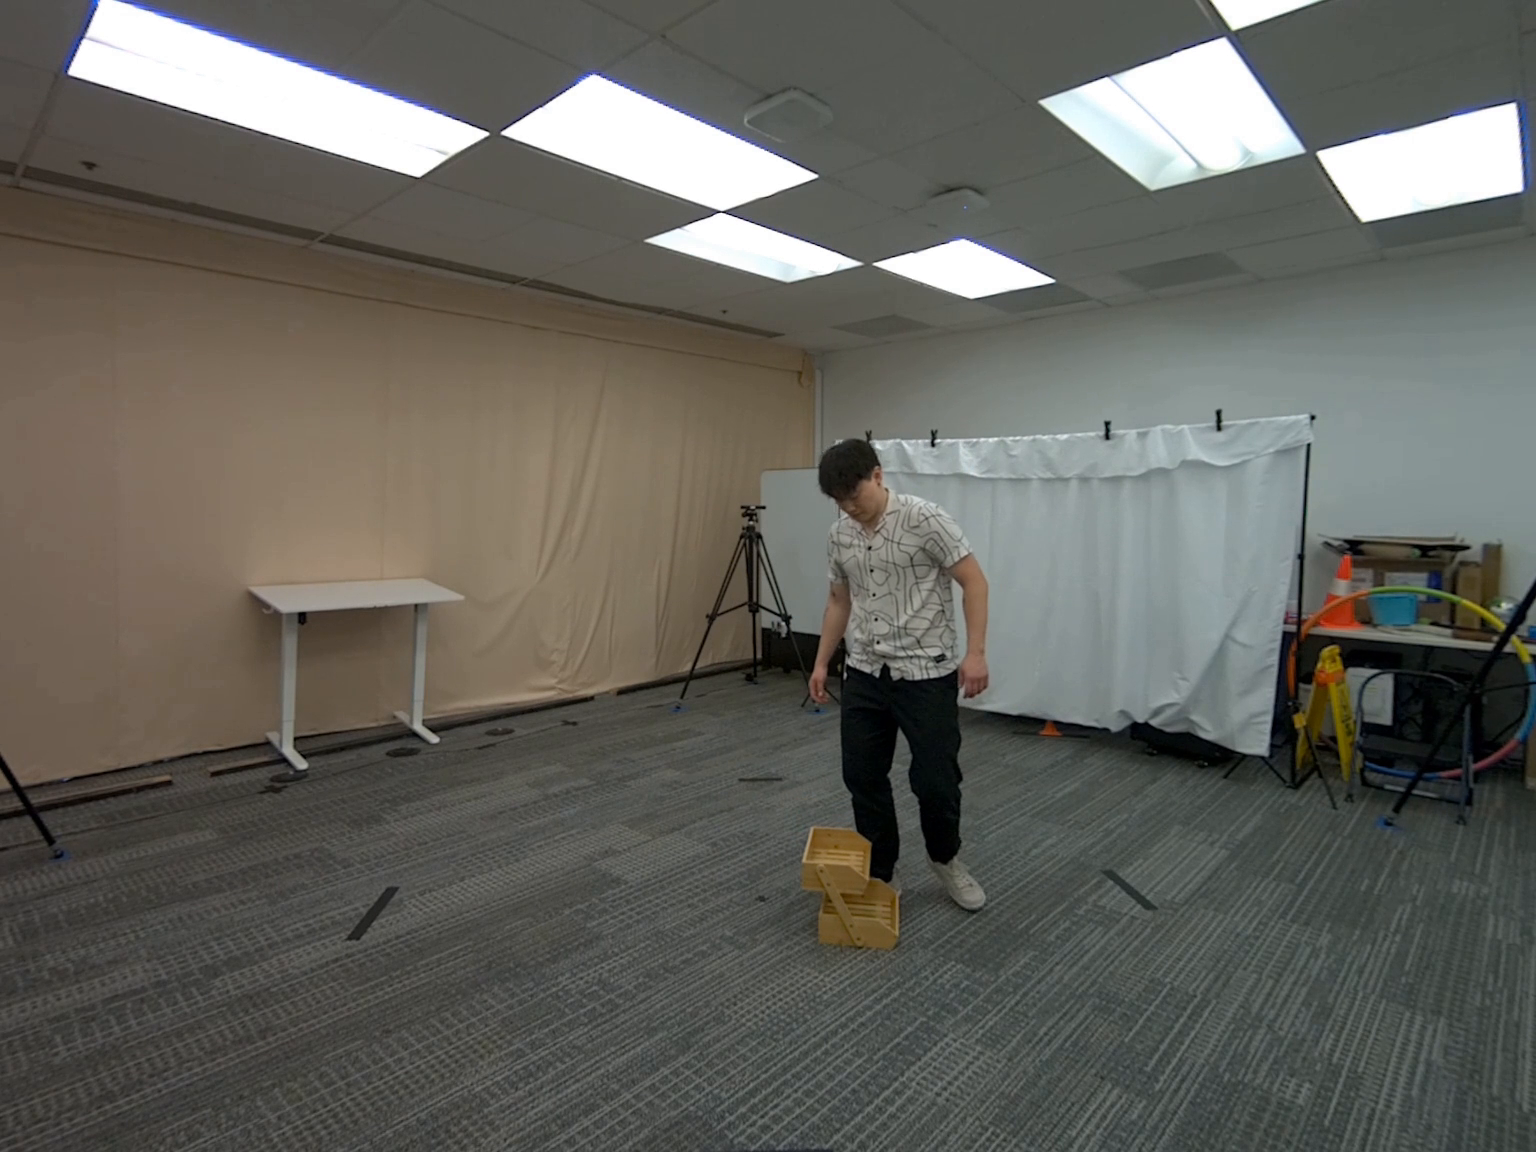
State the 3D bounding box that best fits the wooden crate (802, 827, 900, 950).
[{"bbox_3d":[0.288,1.026,2.800,0.305,0.273,0.321,0,4,10],"label":"wooden crate"}]
